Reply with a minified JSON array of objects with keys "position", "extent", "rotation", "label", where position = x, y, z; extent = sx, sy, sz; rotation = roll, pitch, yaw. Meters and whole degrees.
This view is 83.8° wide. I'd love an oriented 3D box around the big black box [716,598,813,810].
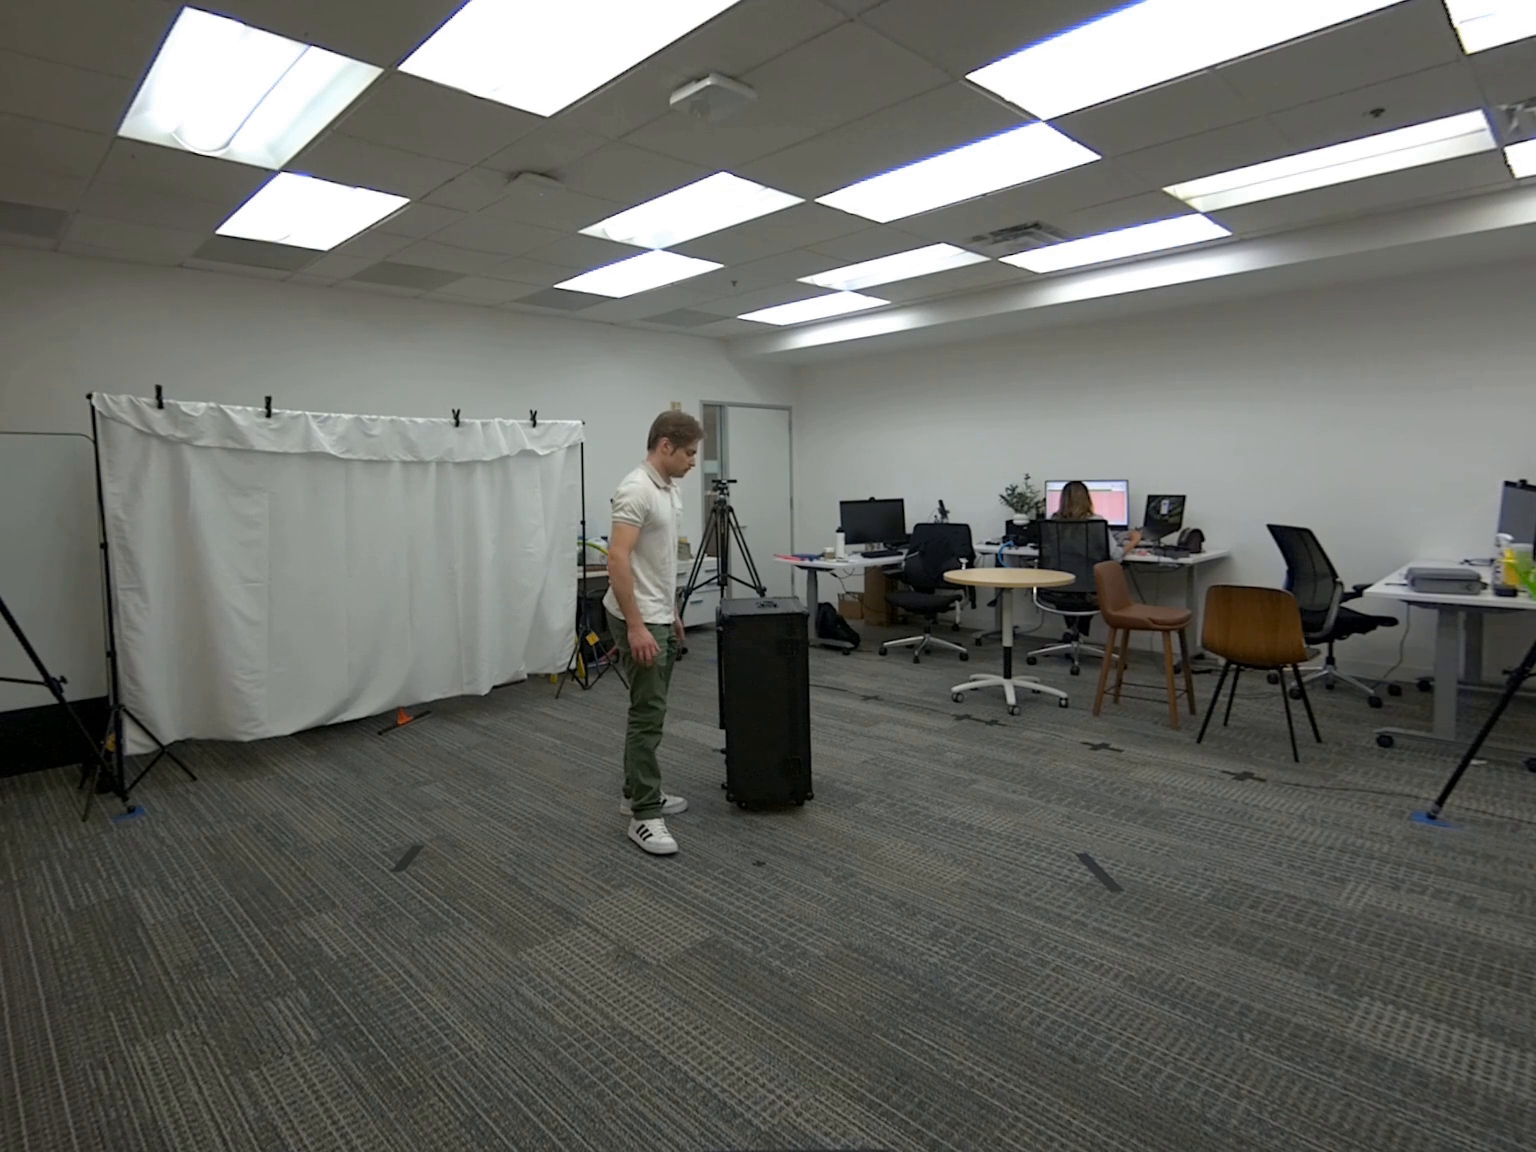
[{"position":[-0.025,0.548,3.745],"extent":[0.396,0.857,0.524],"rotation":[-2,5,-2],"label":"big black box"}]
